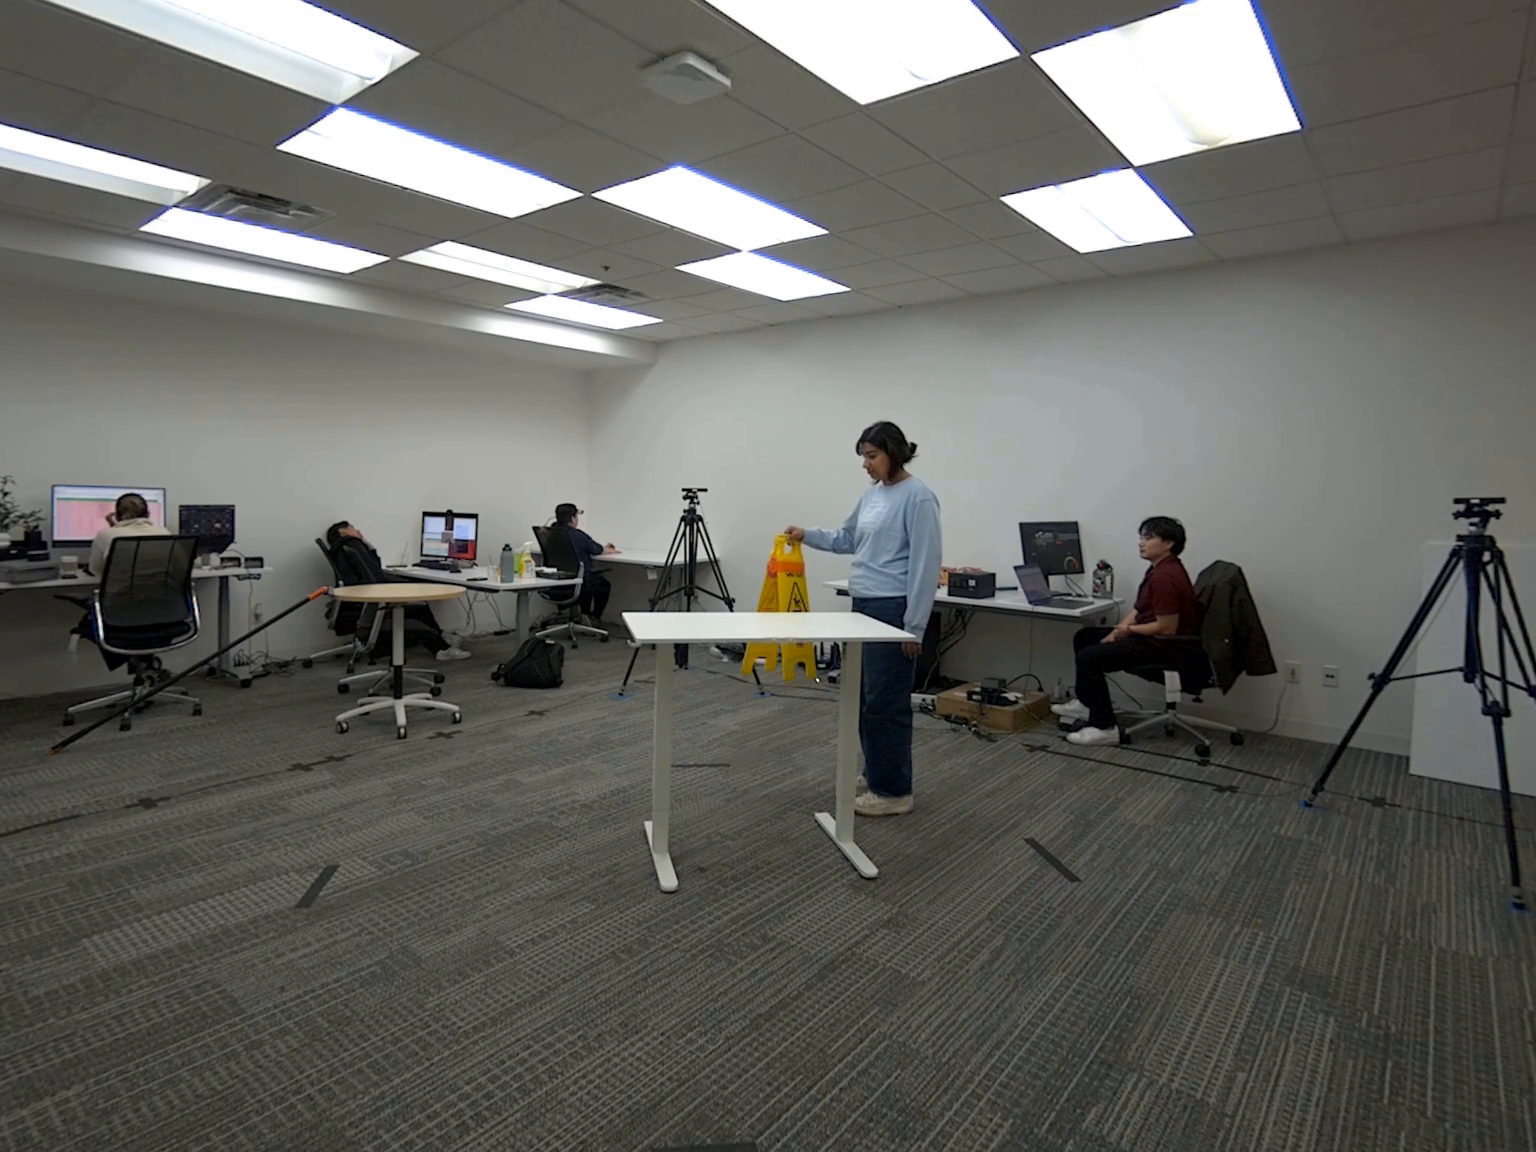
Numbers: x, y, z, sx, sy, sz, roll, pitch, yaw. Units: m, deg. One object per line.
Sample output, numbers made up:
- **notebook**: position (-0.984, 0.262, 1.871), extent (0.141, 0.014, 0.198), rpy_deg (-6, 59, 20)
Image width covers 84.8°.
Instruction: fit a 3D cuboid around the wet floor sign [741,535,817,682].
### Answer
- **wet floor sign**: position (0.061, 0.130, 3.950), extent (0.299, 0.647, 0.273), rpy_deg (2, -2, 34)
